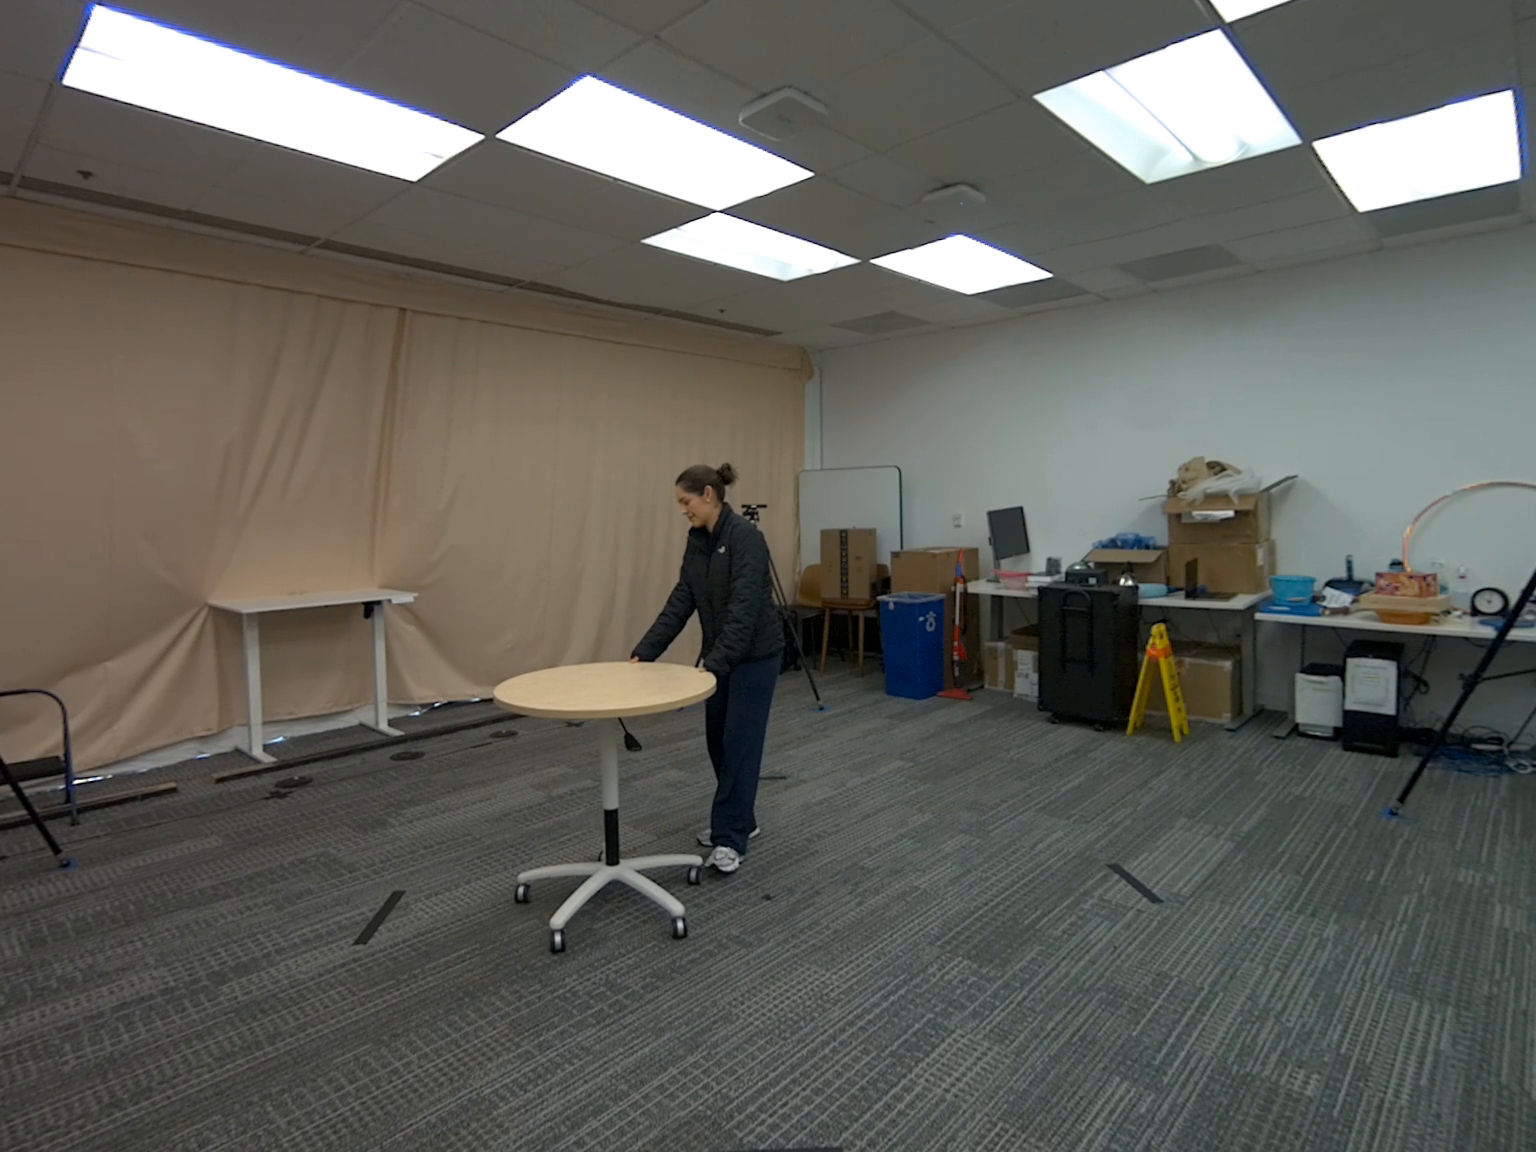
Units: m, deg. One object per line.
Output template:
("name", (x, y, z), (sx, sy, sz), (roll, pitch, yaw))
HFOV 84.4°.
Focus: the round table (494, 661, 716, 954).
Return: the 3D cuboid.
("round table", (-0.526, 0.763, 2.947), (0.784, 0.784, 0.788), (-2, 4, -2))
